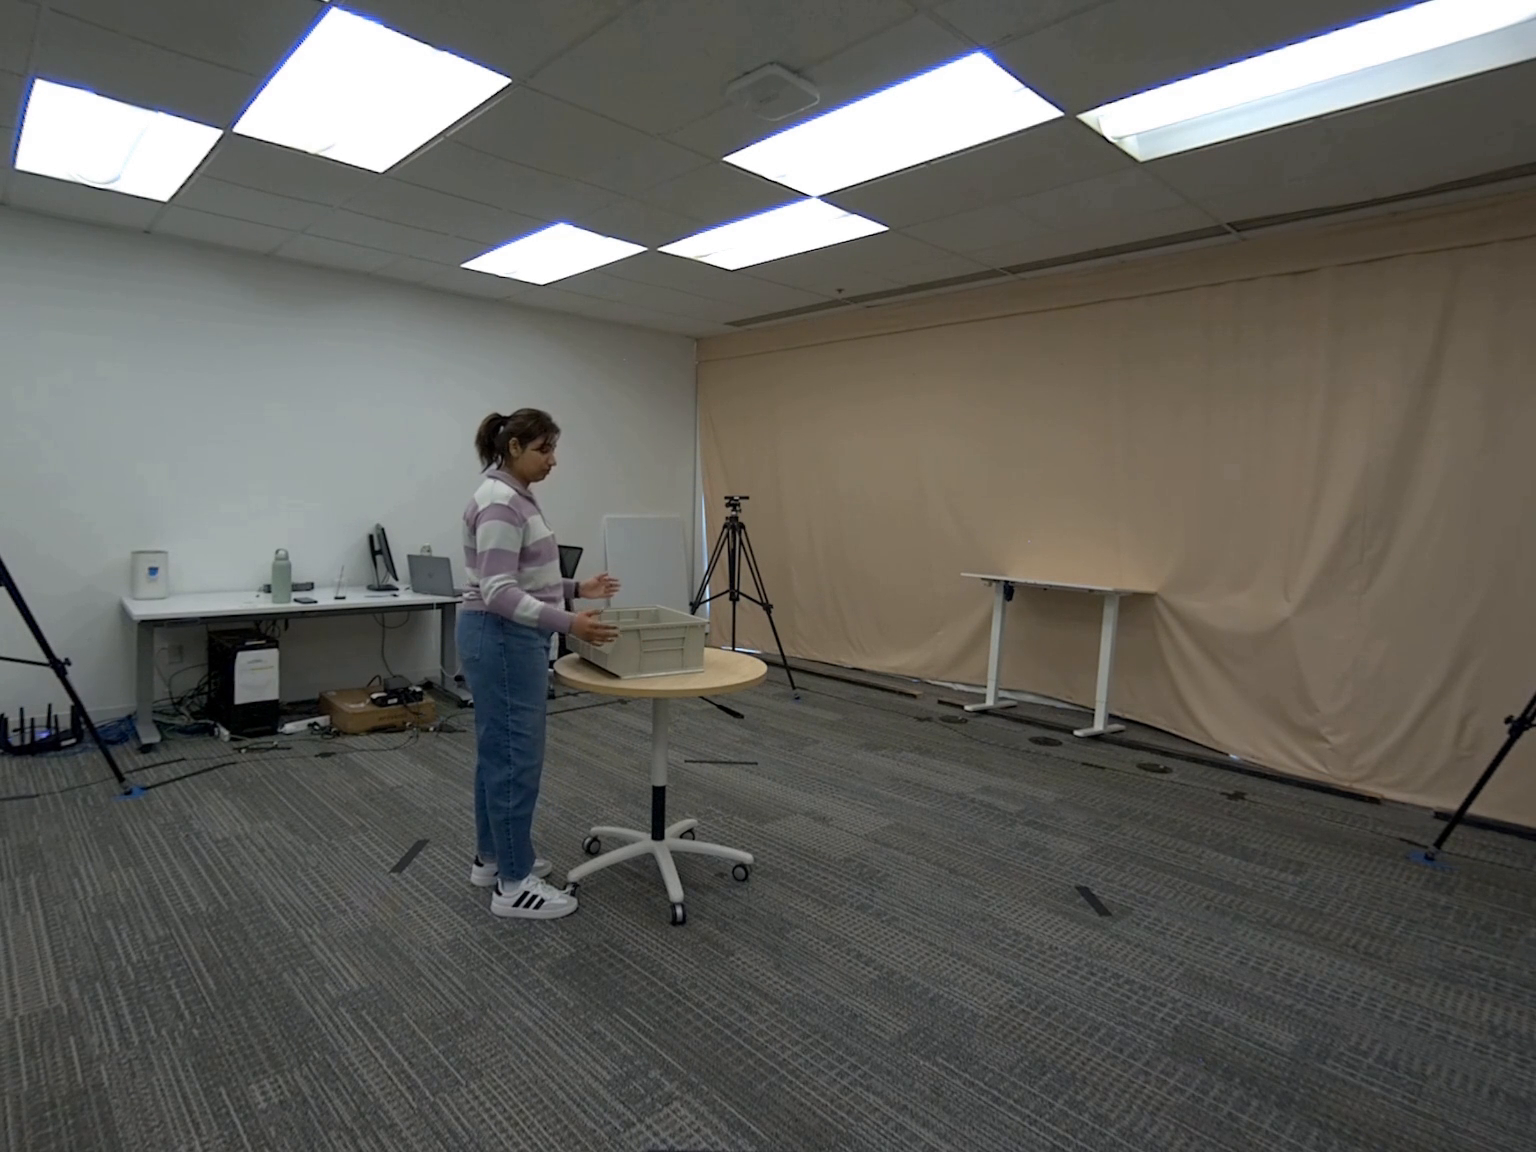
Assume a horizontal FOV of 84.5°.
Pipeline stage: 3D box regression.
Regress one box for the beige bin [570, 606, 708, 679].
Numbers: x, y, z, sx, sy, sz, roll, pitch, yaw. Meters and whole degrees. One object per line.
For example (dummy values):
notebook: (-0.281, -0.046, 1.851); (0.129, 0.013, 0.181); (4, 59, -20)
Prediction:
beige bin: (-0.483, 0.228, 3.012); (0.369, 0.188, 0.432); (0, 4, -31)
